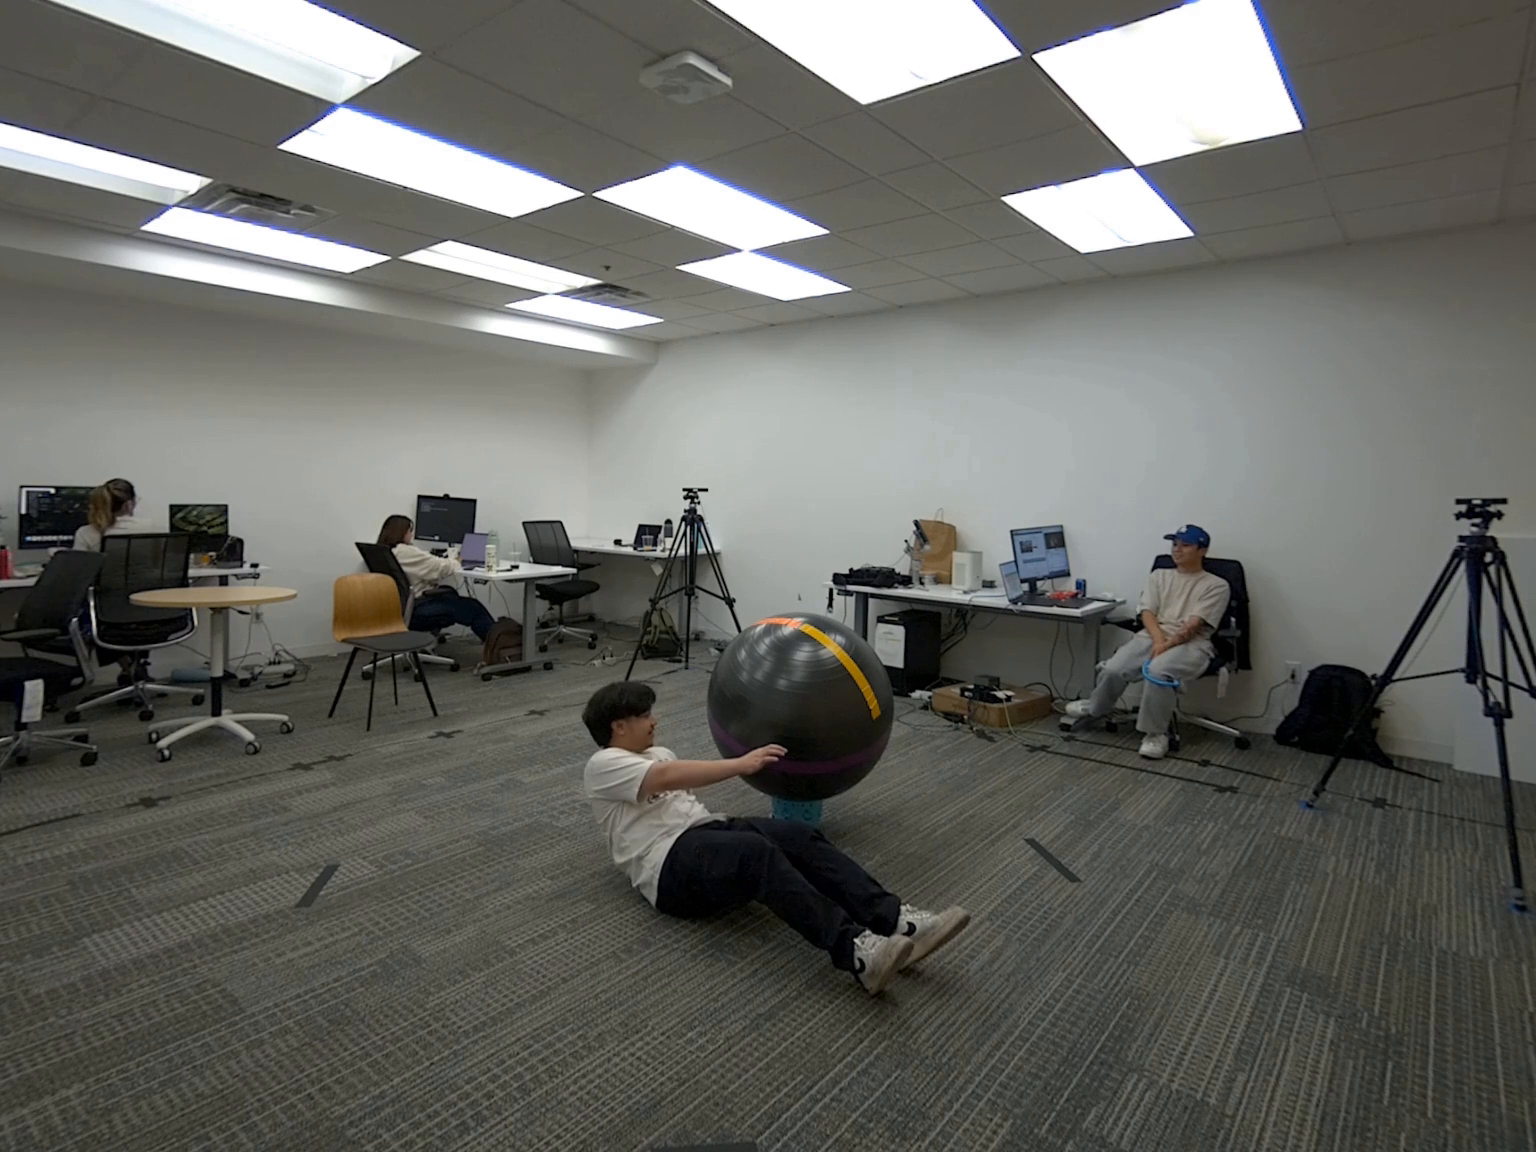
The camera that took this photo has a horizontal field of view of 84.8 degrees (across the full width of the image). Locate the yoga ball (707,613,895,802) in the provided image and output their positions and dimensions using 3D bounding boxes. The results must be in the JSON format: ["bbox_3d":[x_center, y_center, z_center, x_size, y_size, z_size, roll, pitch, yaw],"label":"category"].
[{"bbox_3d":[0.128,0.523,3.489,0.757,0.756,0.761,1,4,-2],"label":"yoga ball"}]
